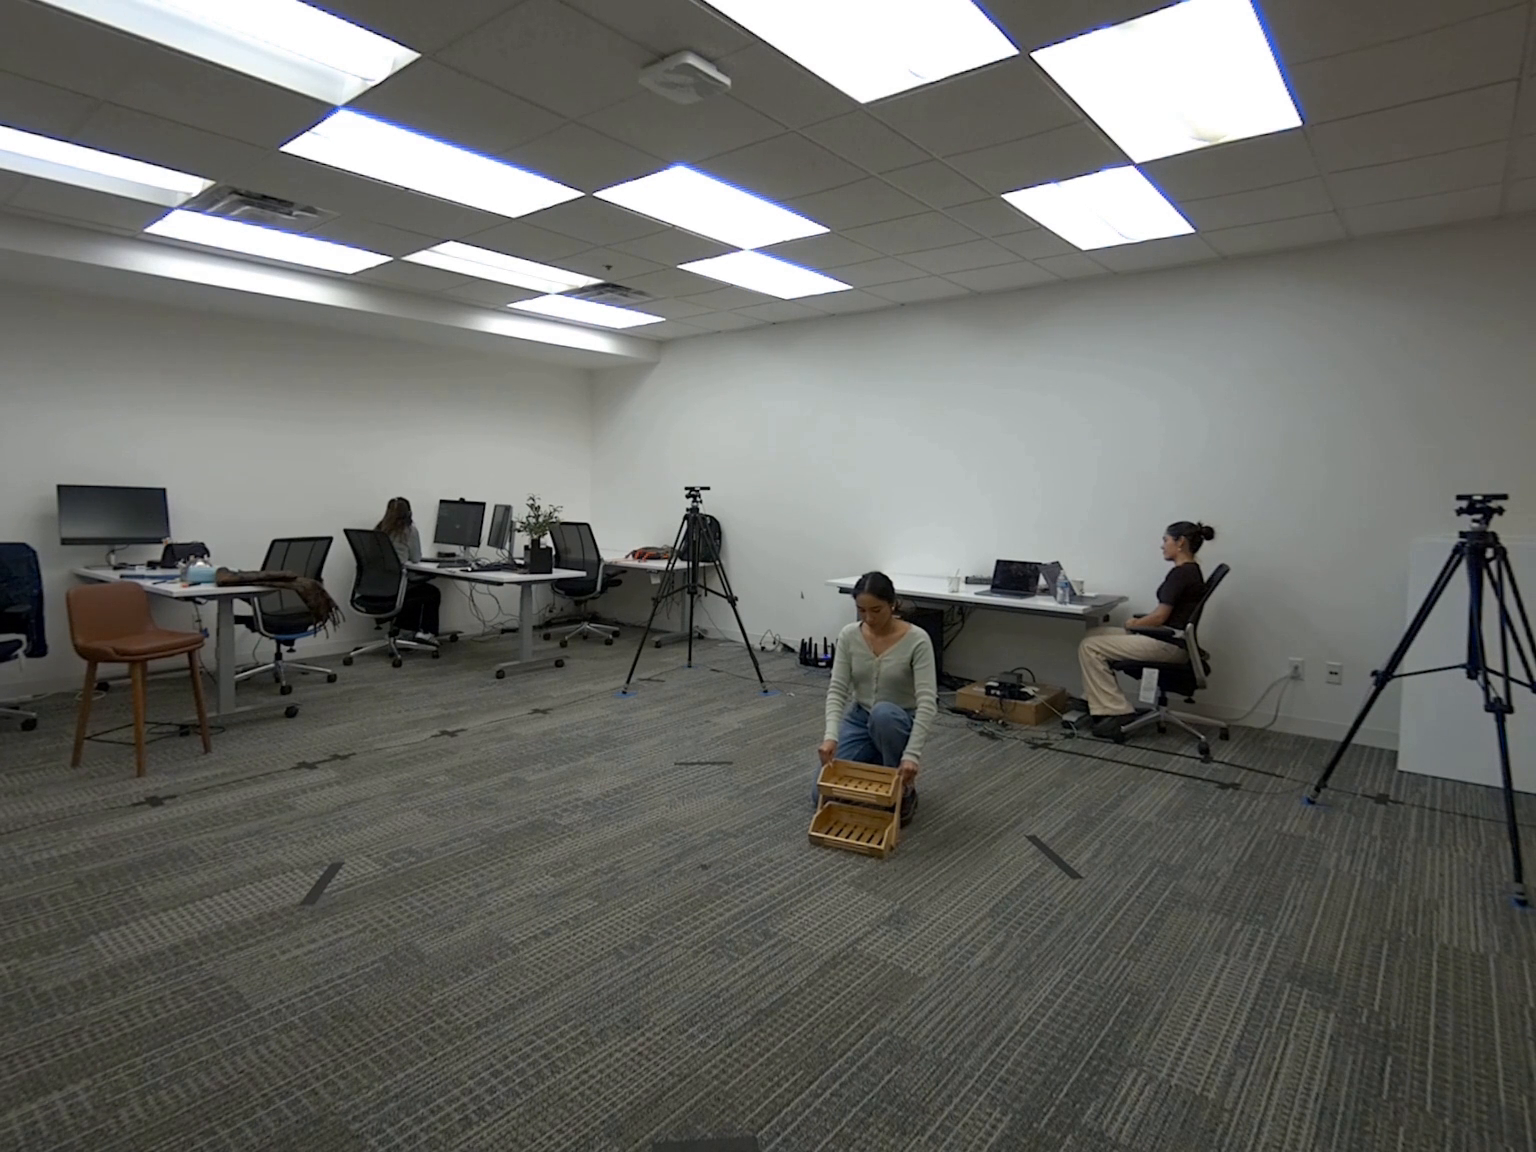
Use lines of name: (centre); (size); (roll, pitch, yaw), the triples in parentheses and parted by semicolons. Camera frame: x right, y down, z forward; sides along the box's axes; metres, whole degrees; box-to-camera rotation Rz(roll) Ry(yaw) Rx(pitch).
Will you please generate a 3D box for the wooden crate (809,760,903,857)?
wooden crate: (0.347, 0.911, 3.386); (0.333, 0.272, 0.295); (5, 5, 24)
